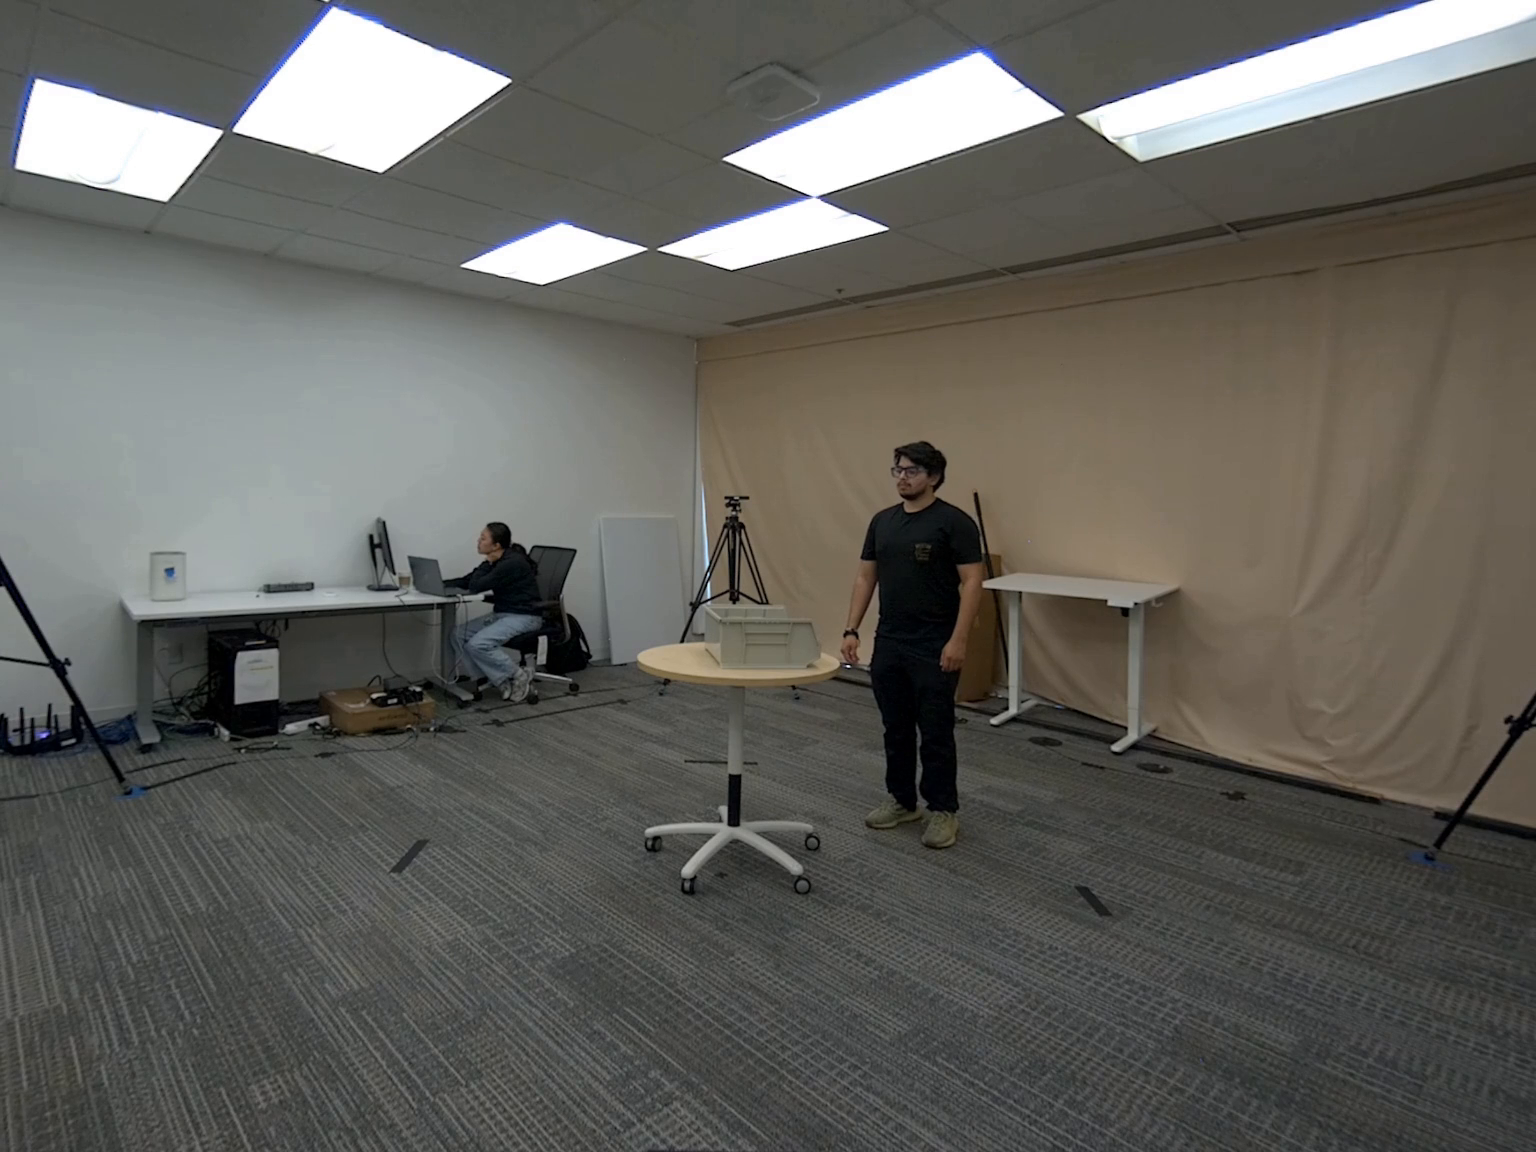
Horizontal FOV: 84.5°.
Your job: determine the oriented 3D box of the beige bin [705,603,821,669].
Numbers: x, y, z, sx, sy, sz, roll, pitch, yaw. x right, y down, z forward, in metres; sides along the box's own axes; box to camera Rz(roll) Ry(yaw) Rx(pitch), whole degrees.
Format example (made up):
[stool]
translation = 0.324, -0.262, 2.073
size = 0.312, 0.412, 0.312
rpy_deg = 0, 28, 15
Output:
[beige bin]
translation = -0.042, 0.225, 3.197
size = 0.374, 0.188, 0.428
rpy_deg = 0, 5, -12
